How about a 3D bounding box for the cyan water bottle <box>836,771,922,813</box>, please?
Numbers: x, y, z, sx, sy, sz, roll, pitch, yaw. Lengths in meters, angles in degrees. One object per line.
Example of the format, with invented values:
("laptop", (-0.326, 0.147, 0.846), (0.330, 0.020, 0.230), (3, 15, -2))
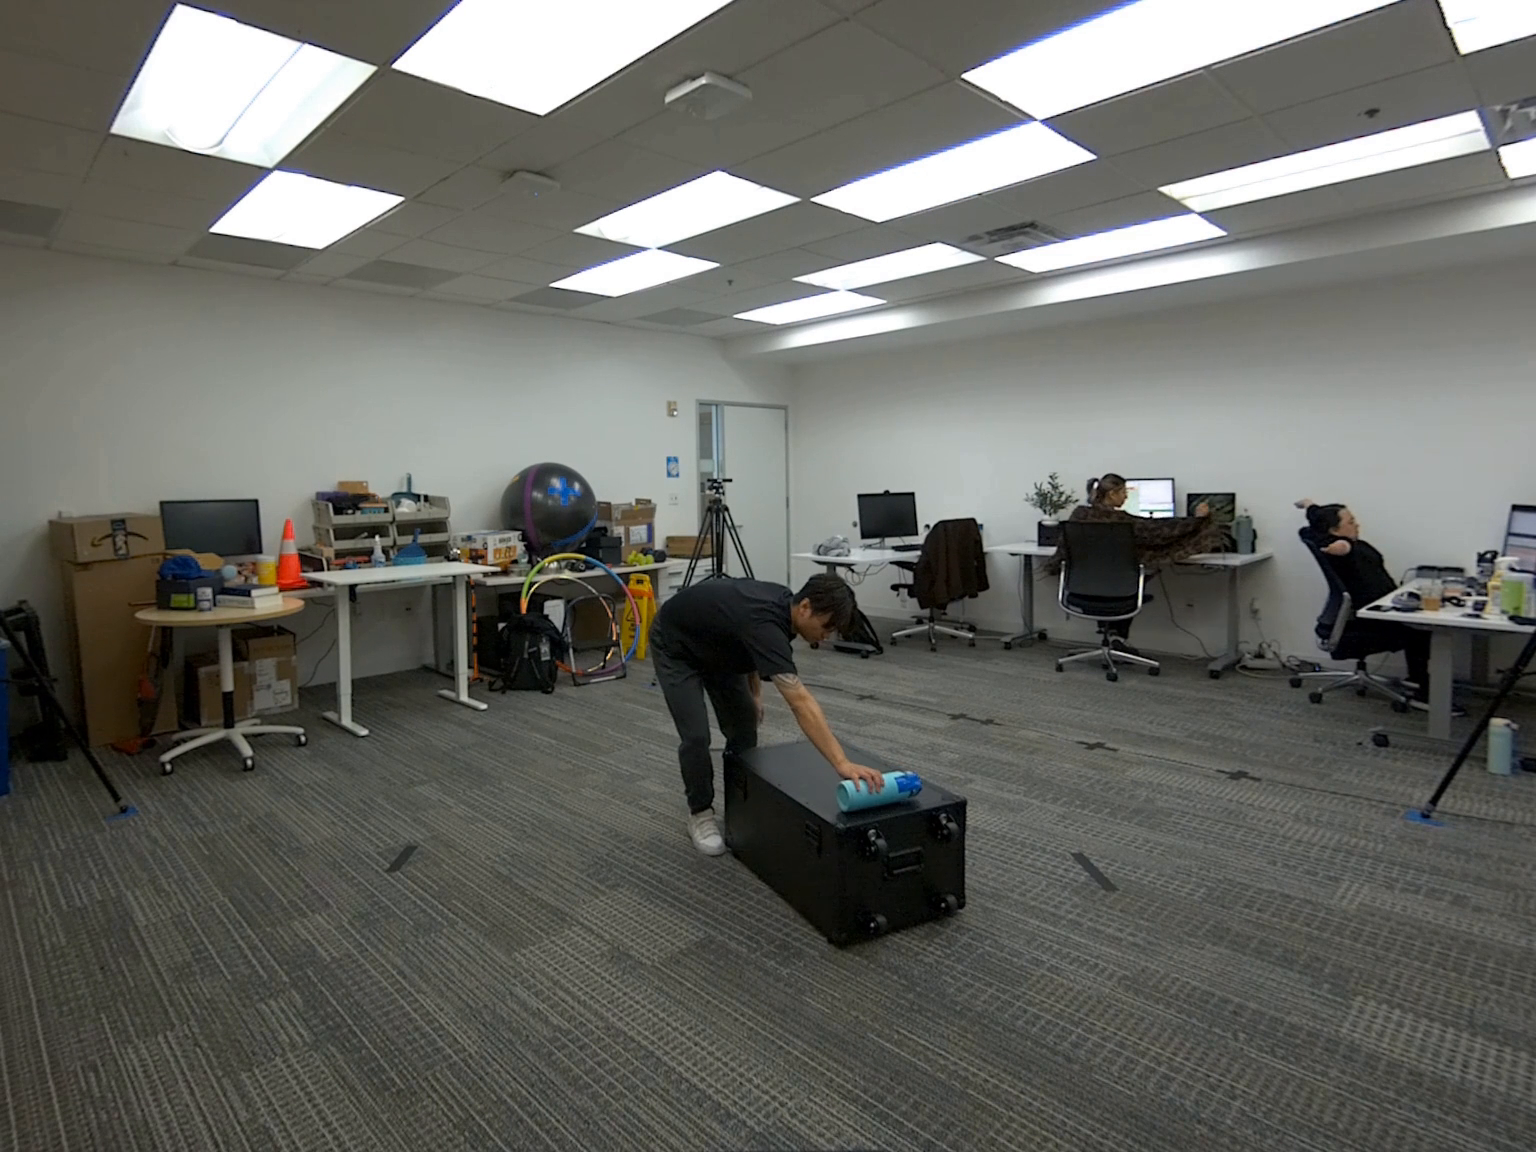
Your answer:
("cyan water bottle", (0.357, 0.661, 2.674), (0.278, 0.092, 0.094), (-5, 6, -23))
